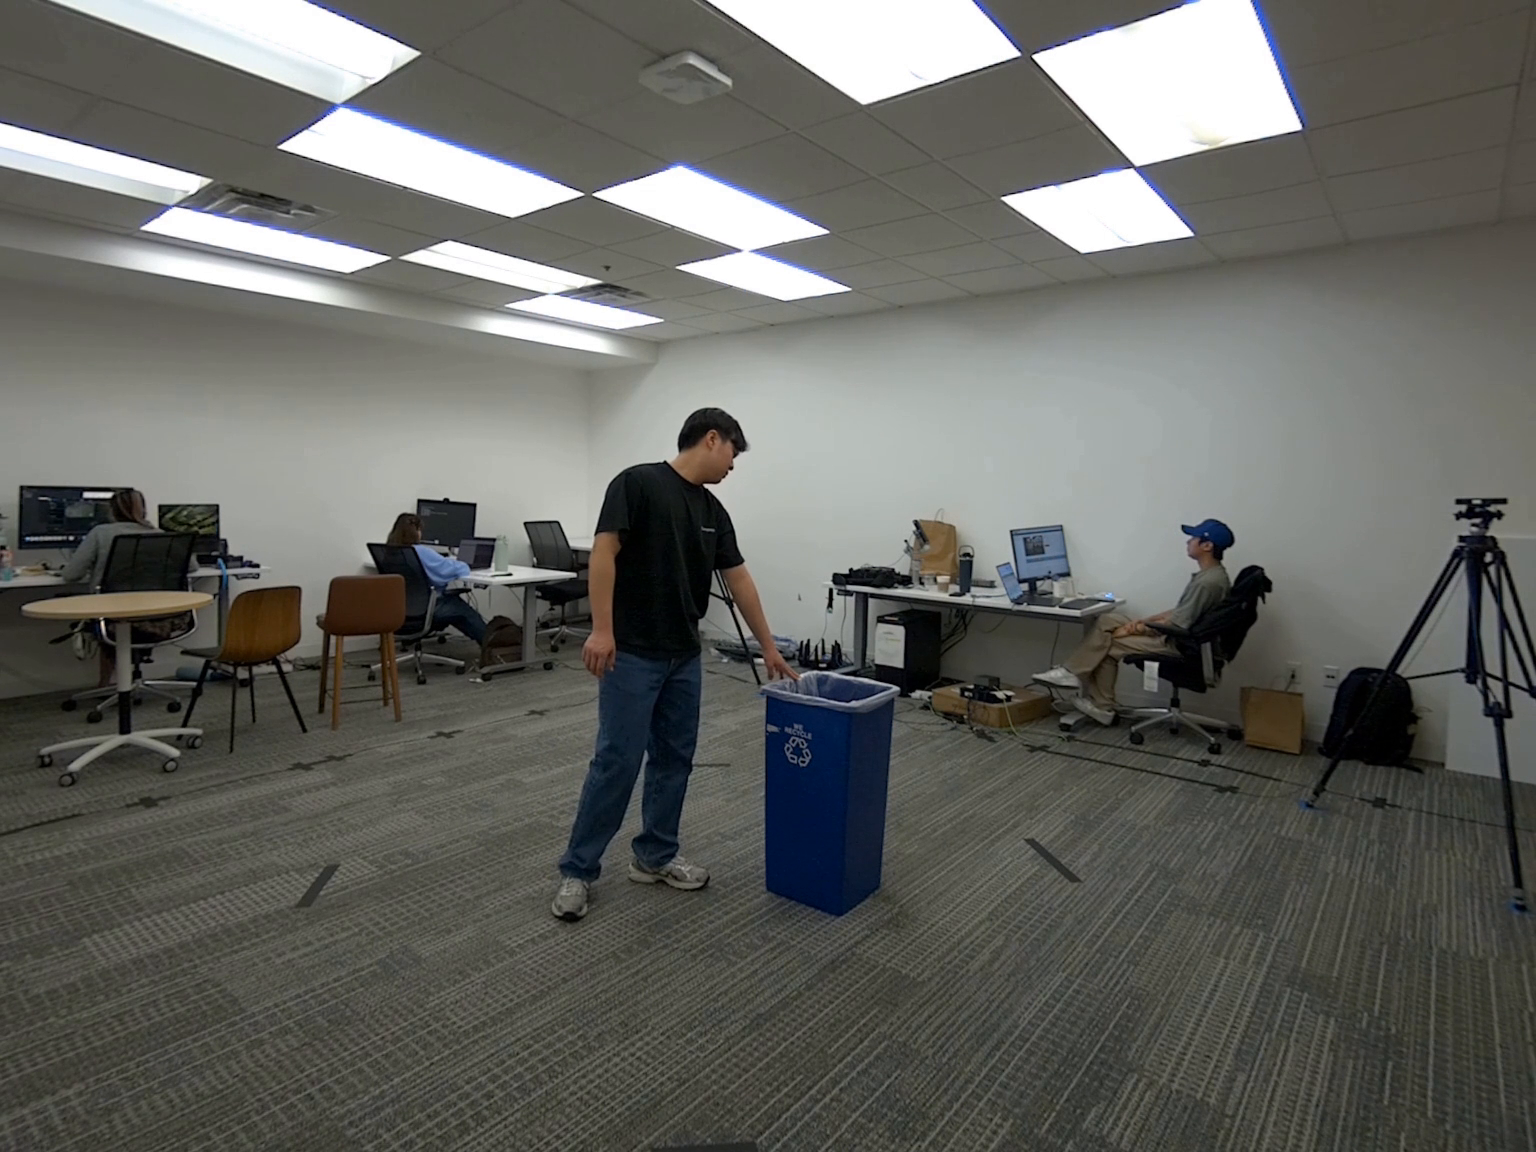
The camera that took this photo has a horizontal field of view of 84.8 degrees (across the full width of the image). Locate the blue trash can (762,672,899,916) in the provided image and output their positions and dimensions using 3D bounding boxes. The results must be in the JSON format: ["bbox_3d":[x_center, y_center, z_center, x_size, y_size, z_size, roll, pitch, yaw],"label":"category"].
[{"bbox_3d":[0.207,0.738,2.962,0.386,0.711,0.367,3,4,34],"label":"blue trash can"}]
